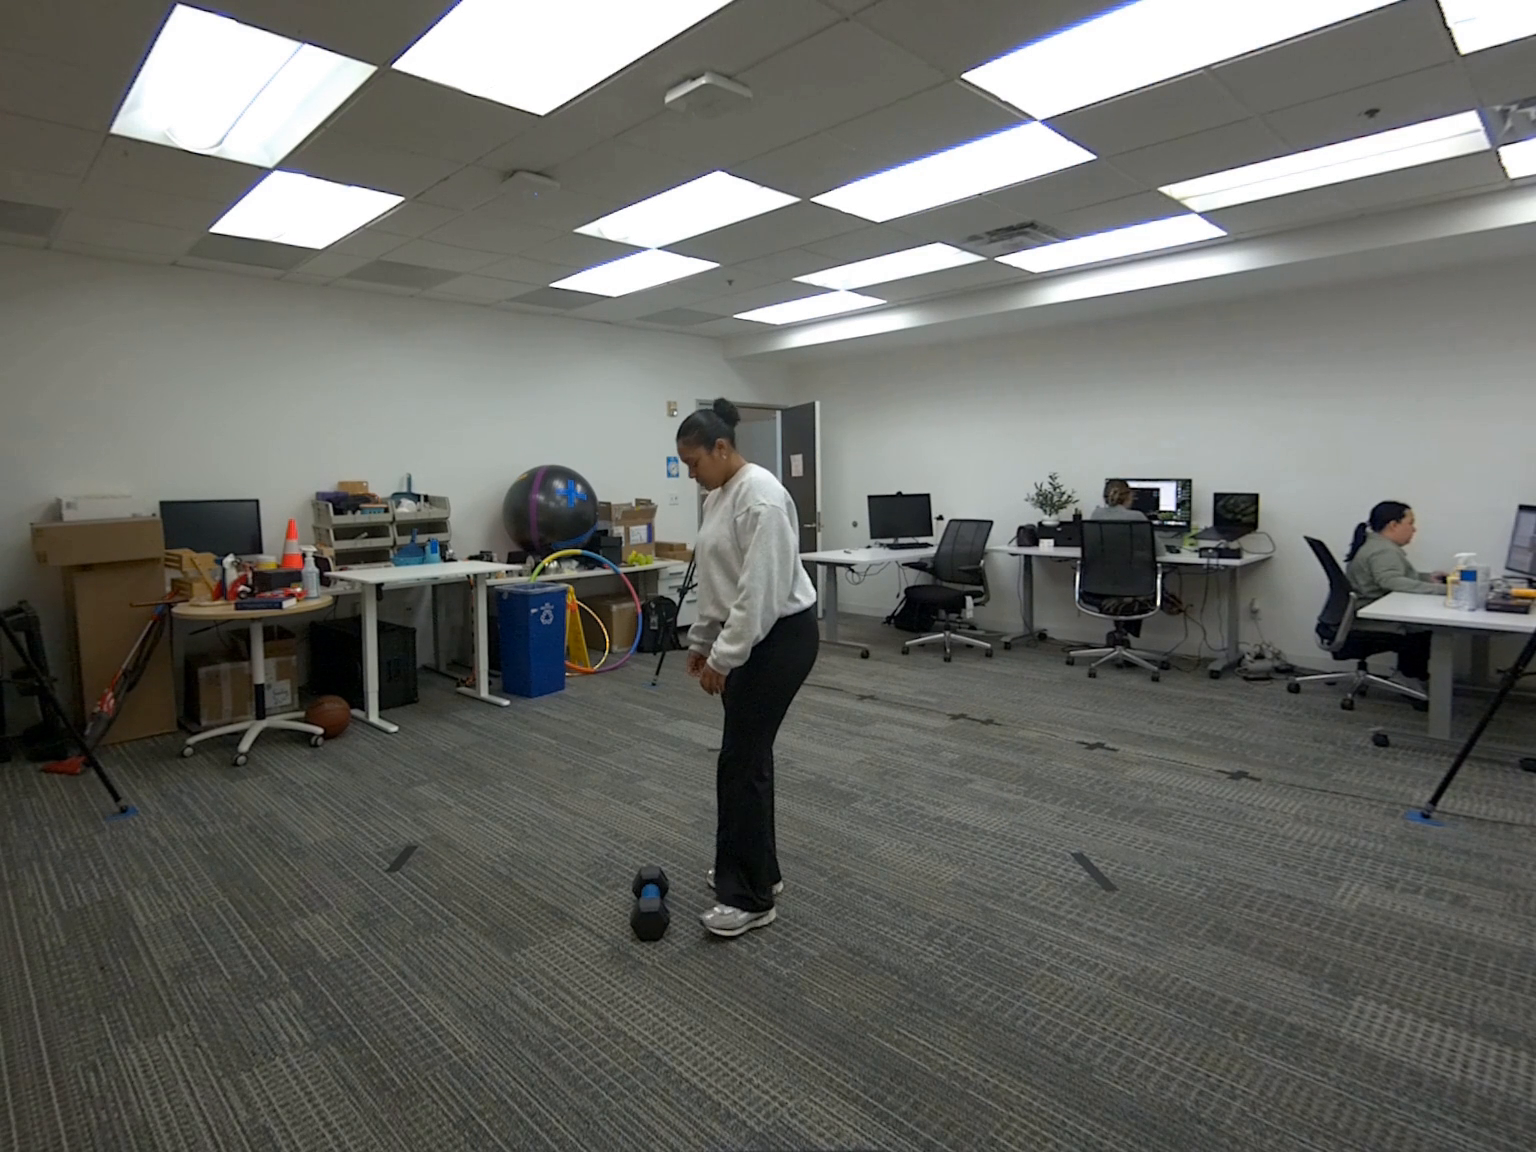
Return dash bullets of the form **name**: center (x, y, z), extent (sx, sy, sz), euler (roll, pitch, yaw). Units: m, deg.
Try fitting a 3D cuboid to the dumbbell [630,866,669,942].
- **dumbbell**: center (-0.368, 1.040, 2.729), extent (0.108, 0.122, 0.296), euler (-32, 9, -3)
